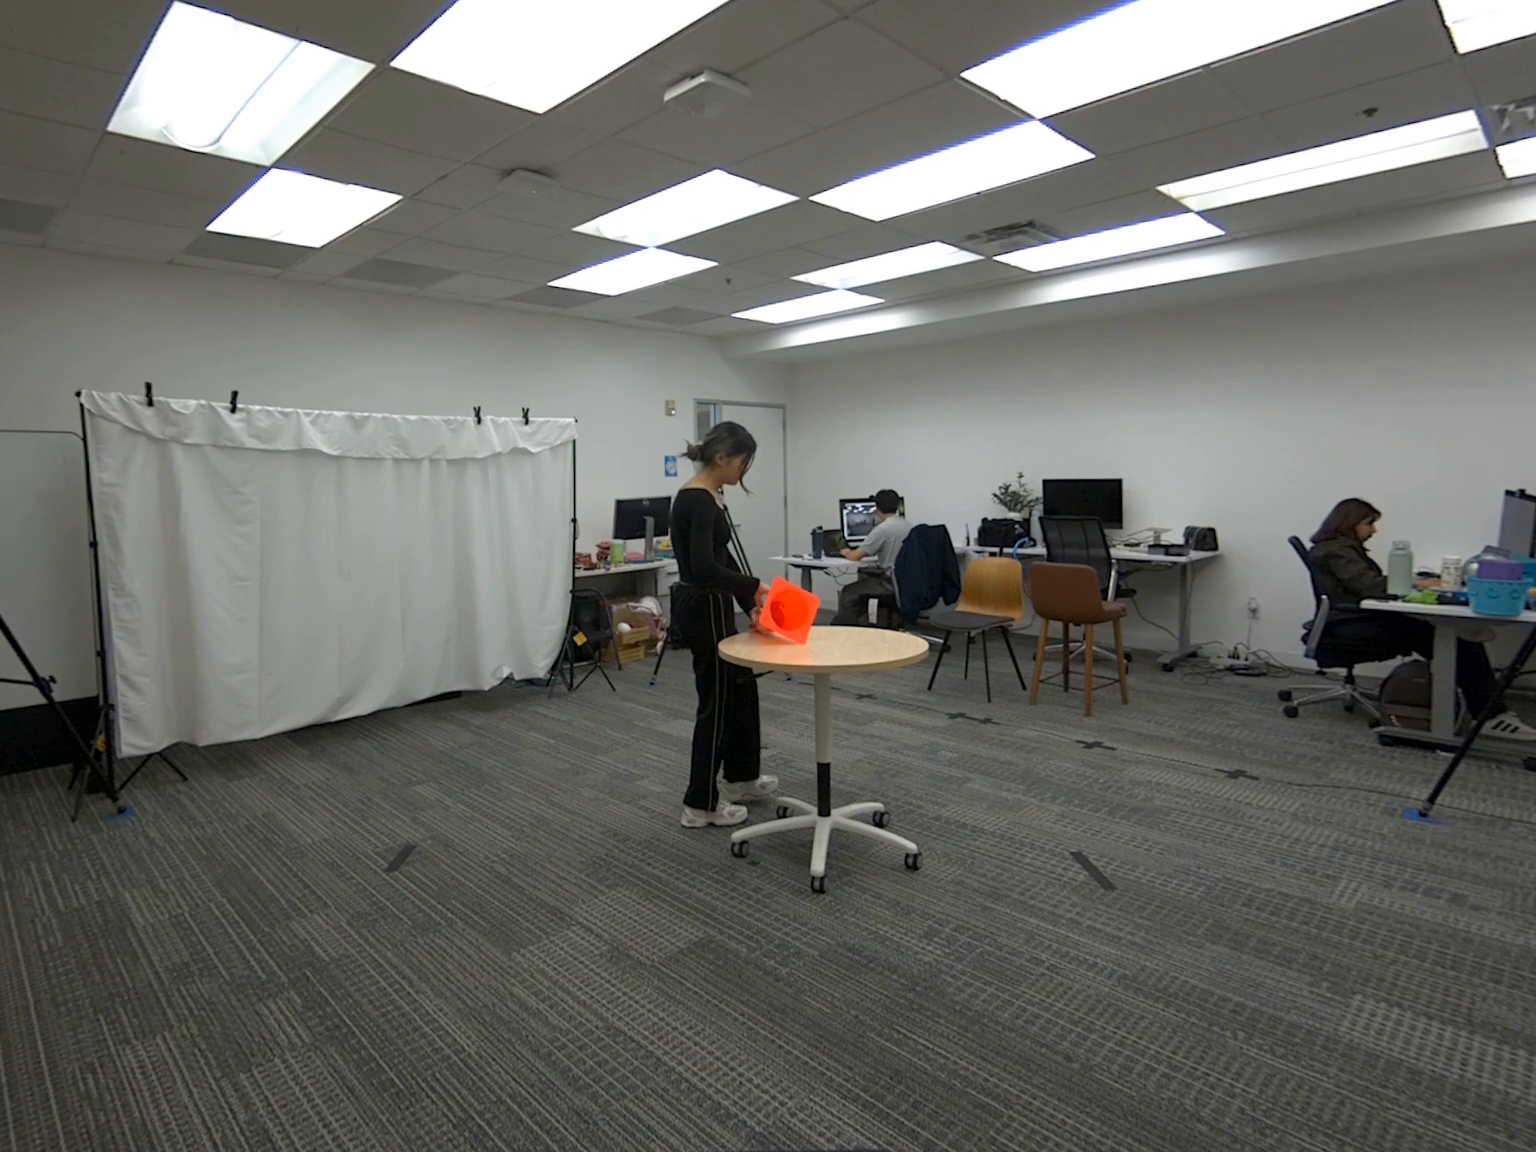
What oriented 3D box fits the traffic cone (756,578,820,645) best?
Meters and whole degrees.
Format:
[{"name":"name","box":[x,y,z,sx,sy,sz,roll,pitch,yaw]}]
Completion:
[{"name":"traffic cone","box":[0.035,0.171,3.328,0.201,0.206,0.384,28,-20,-8]}]
